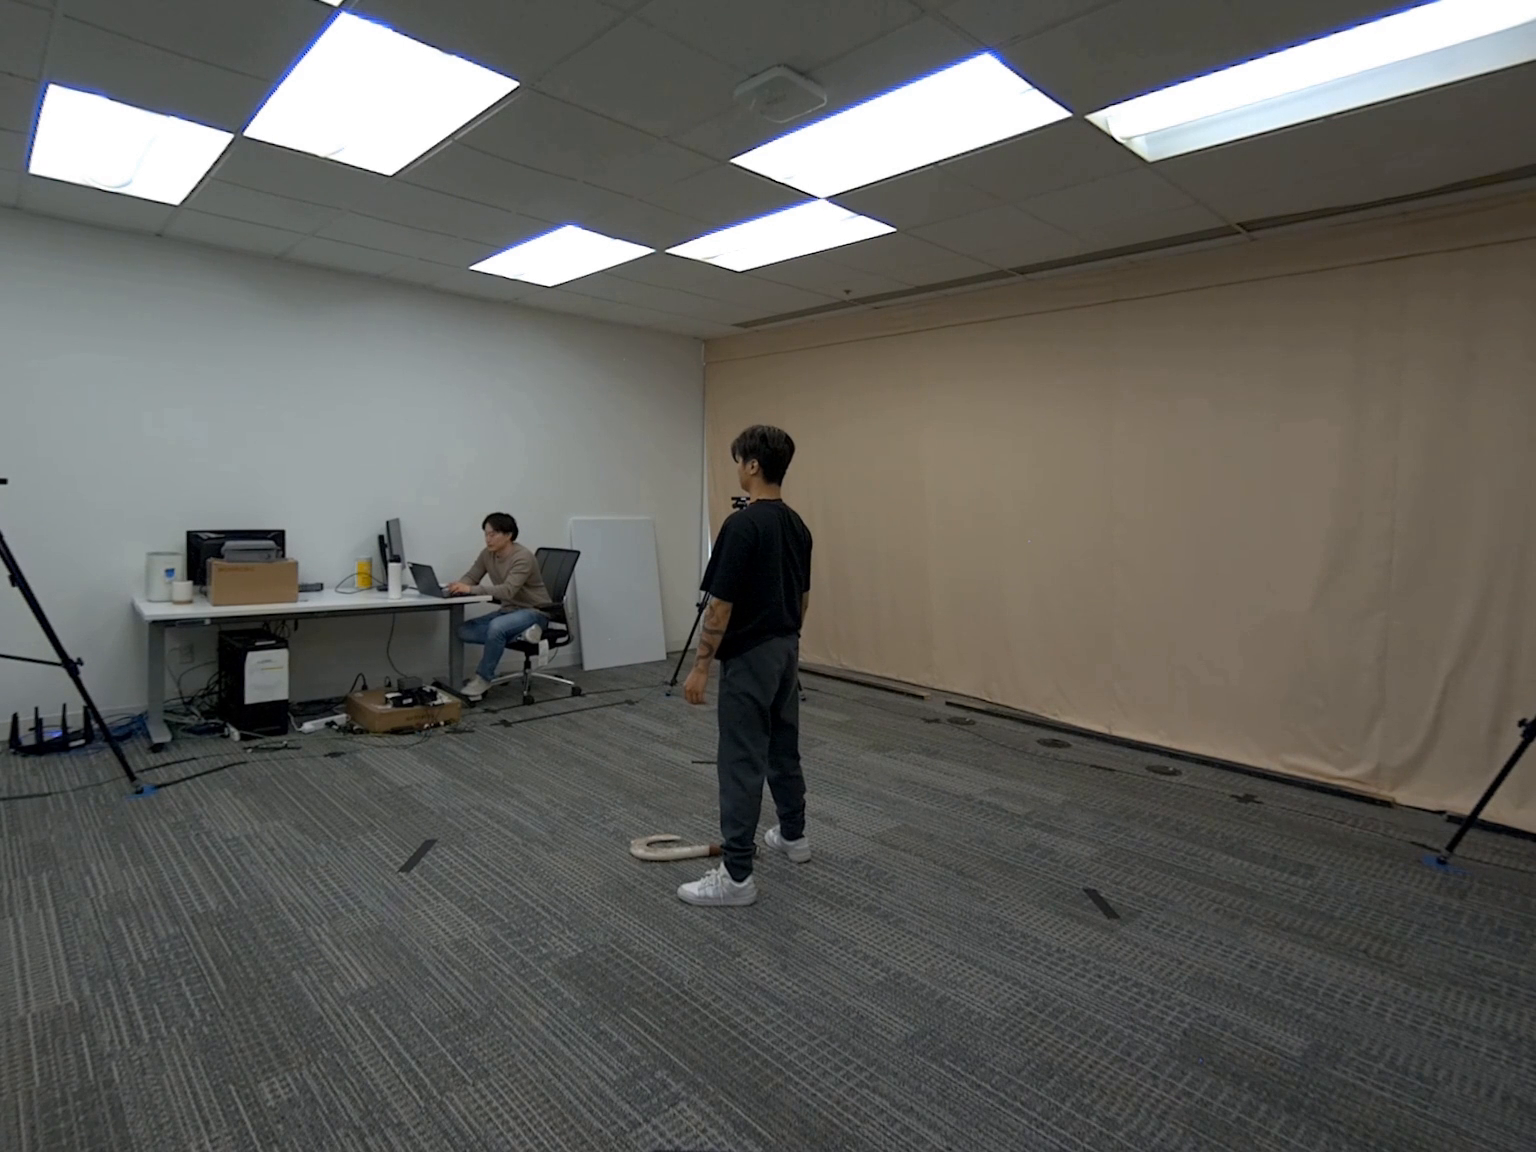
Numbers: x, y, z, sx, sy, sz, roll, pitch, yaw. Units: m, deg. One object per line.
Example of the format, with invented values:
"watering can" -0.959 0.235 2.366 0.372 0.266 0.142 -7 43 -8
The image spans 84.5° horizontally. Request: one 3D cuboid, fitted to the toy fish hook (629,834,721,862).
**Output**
"toy fish hook" -0.291 1.055 3.315 0.505 0.048 0.226 1 8 -3
